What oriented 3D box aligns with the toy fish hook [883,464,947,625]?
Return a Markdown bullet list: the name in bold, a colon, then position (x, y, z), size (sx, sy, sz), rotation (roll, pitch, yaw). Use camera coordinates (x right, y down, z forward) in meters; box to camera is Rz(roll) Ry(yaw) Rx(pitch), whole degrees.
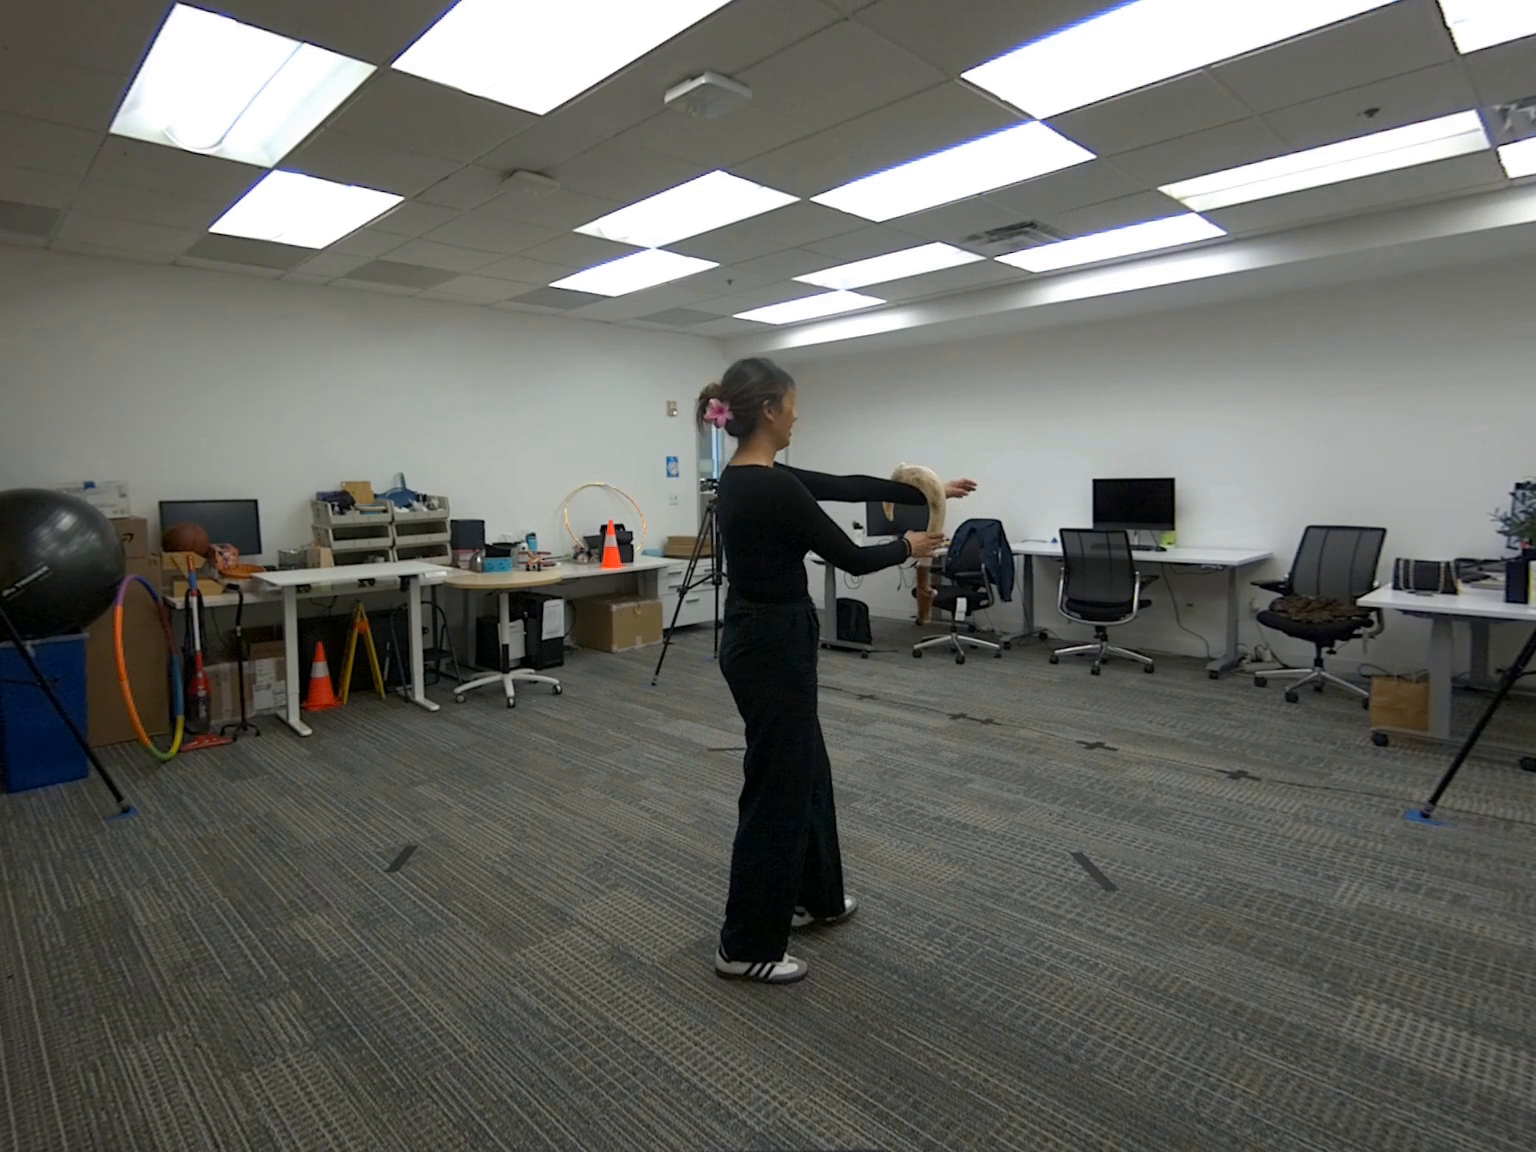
- **toy fish hook**: position (0.442, -0.098, 2.639), size (0.047, 0.497, 0.233), rotation (-17, 26, -36)
